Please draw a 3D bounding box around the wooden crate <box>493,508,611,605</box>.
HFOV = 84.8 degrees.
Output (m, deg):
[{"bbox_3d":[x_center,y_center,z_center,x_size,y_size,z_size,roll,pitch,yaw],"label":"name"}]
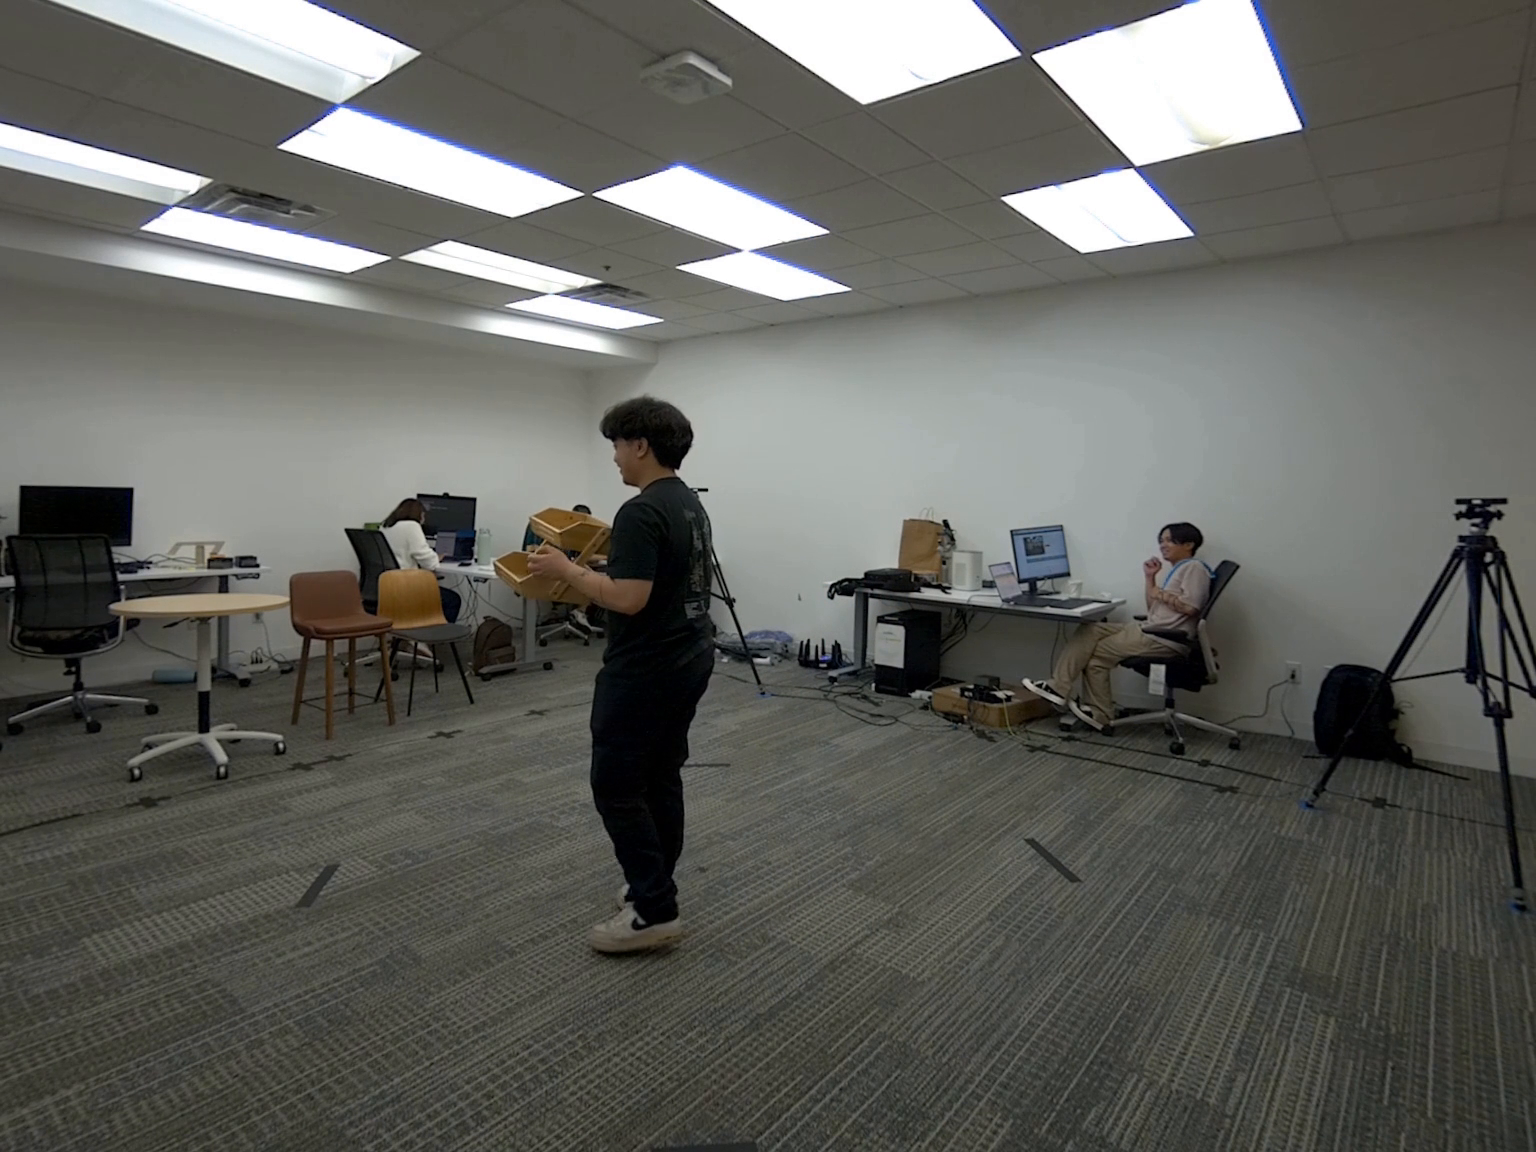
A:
[{"bbox_3d":[-0.717,-0.083,2.811,0.292,0.272,0.336,11,6,-34],"label":"wooden crate"}]
